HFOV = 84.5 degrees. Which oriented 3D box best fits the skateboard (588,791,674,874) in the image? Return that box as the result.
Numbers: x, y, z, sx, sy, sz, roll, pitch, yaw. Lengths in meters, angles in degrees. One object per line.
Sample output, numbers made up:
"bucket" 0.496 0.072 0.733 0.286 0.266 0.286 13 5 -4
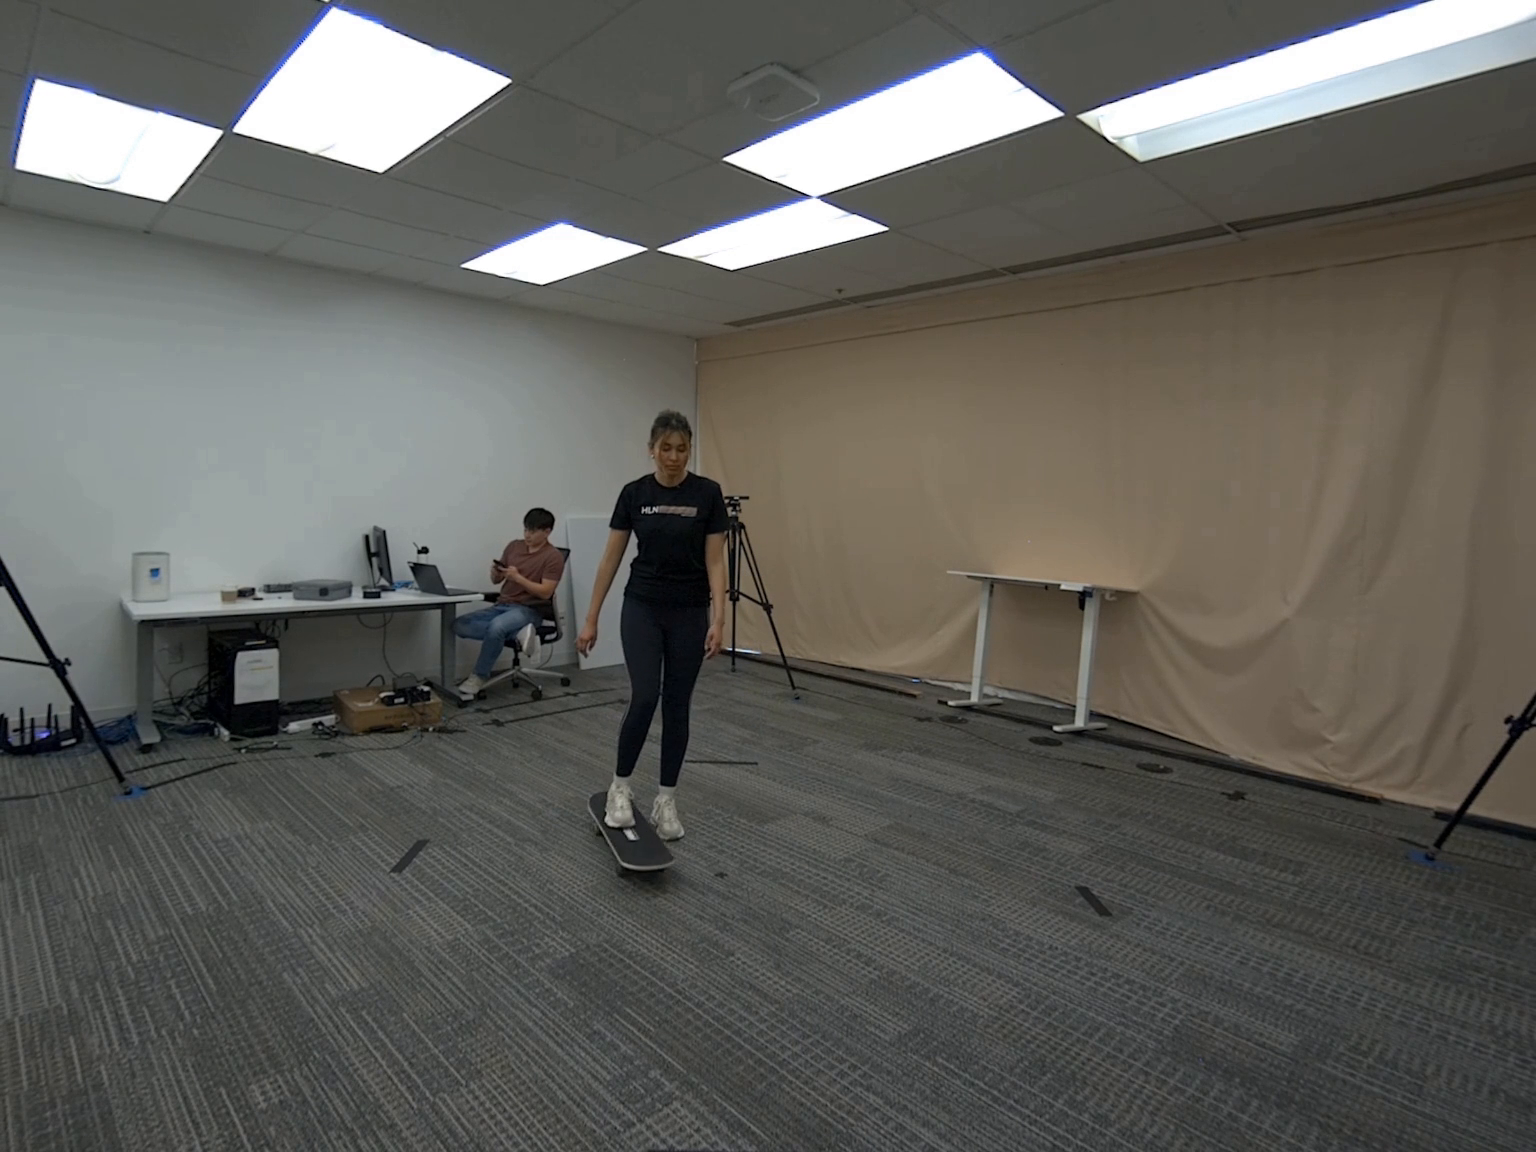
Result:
"skateboard" -0.552 1.025 3.286 0.190 0.110 0.801 -1 6 -23
